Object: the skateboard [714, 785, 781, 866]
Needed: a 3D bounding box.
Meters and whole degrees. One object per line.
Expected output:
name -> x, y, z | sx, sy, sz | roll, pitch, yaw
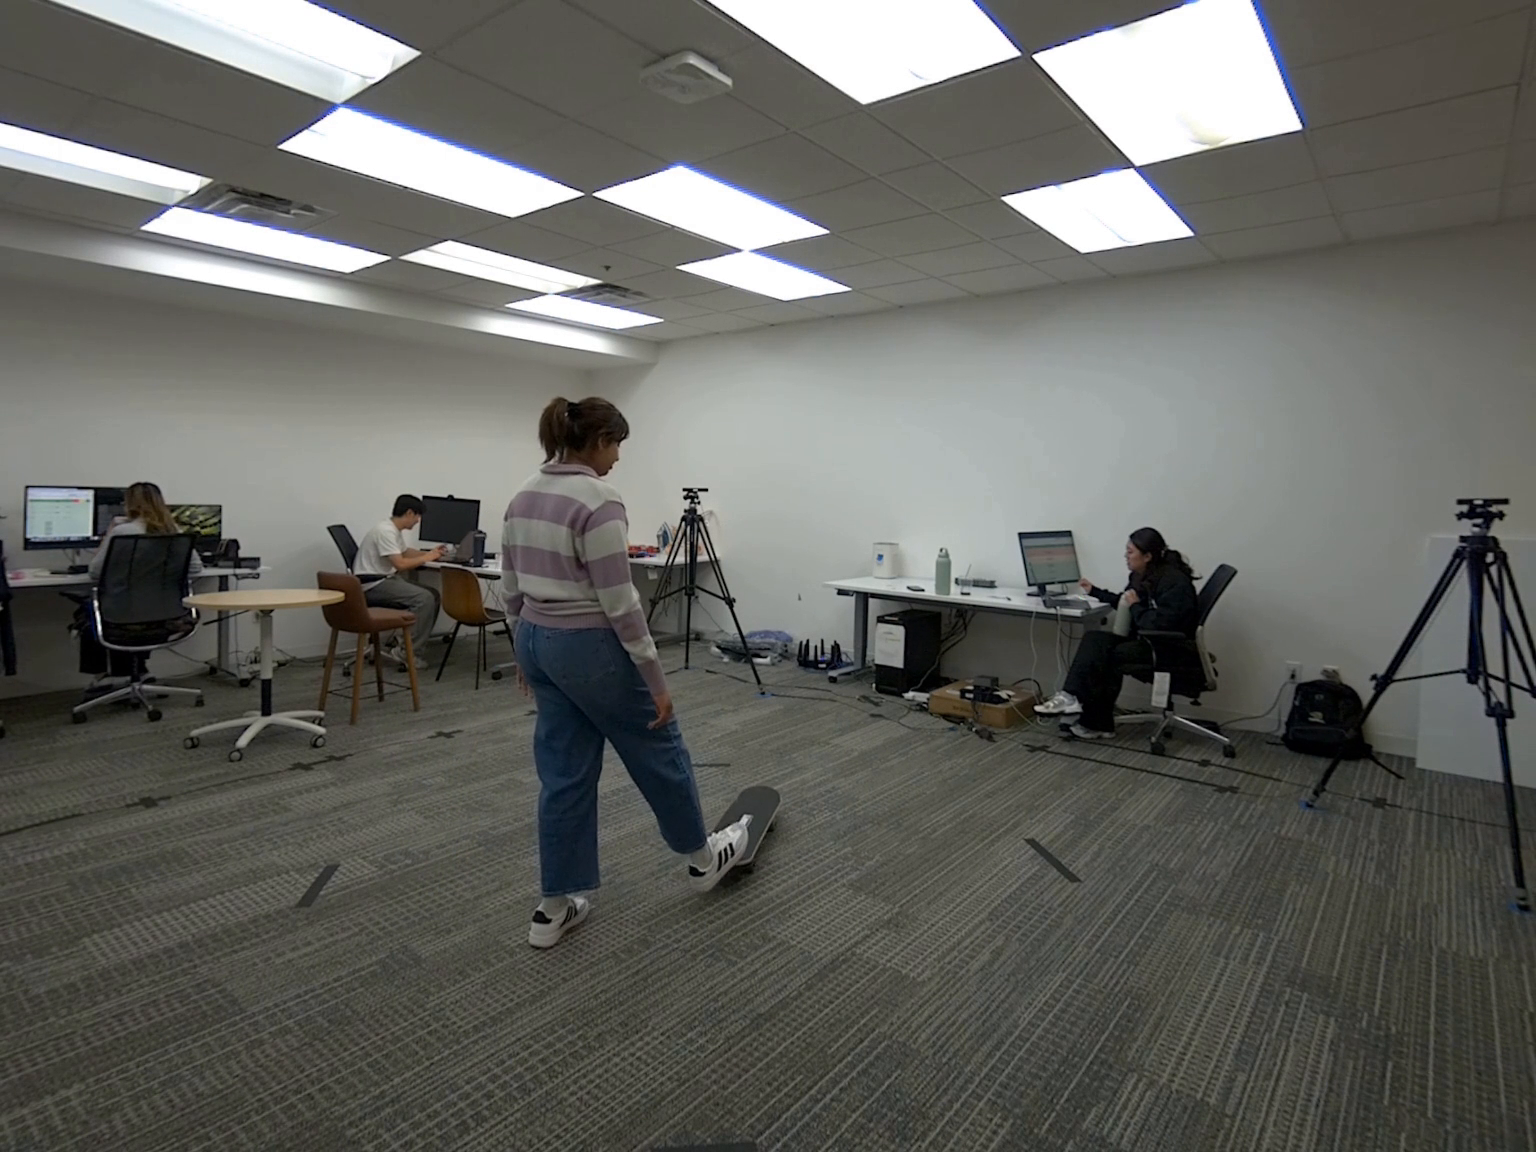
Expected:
skateboard -> -0.108, 0.992, 3.306 | 0.196, 0.110, 0.777 | 2, 6, 12
